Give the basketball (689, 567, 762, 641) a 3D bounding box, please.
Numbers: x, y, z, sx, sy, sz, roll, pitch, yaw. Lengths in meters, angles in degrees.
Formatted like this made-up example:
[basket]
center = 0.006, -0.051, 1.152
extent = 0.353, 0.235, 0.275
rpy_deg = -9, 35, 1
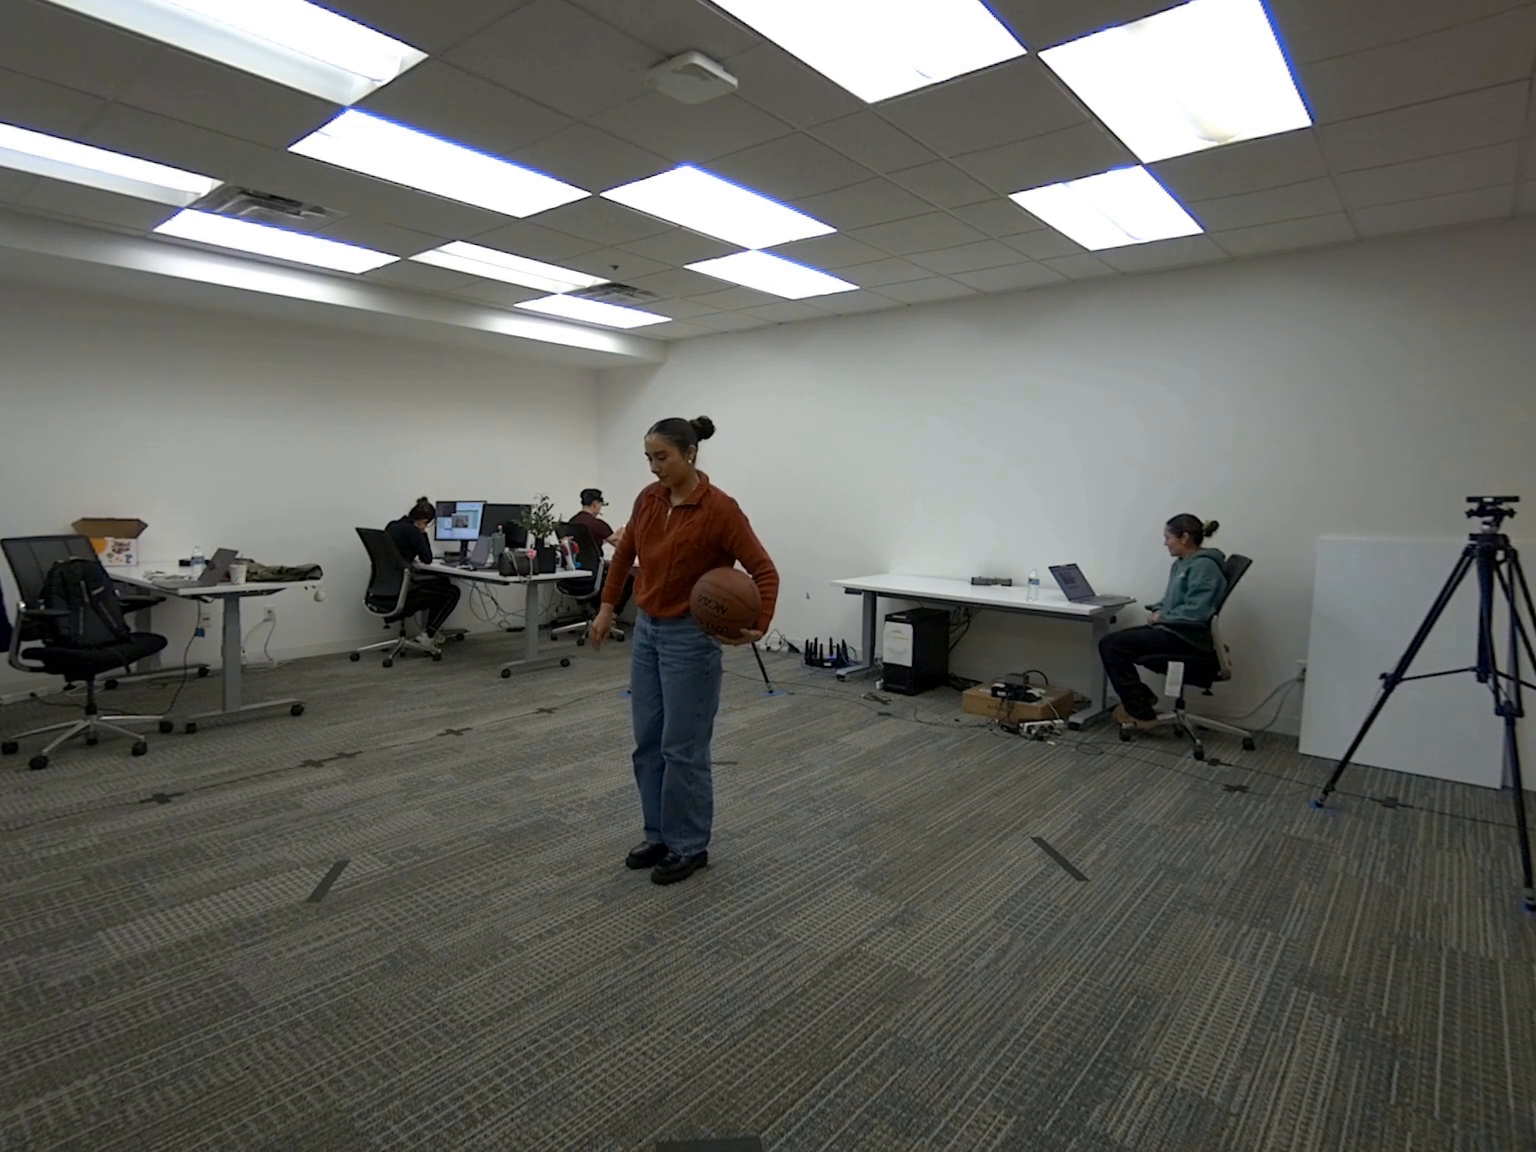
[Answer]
[basketball]
center = -0.150, 0.088, 2.808
extent = 0.235, 0.235, 0.237
rpy_deg = 1, 4, -2
